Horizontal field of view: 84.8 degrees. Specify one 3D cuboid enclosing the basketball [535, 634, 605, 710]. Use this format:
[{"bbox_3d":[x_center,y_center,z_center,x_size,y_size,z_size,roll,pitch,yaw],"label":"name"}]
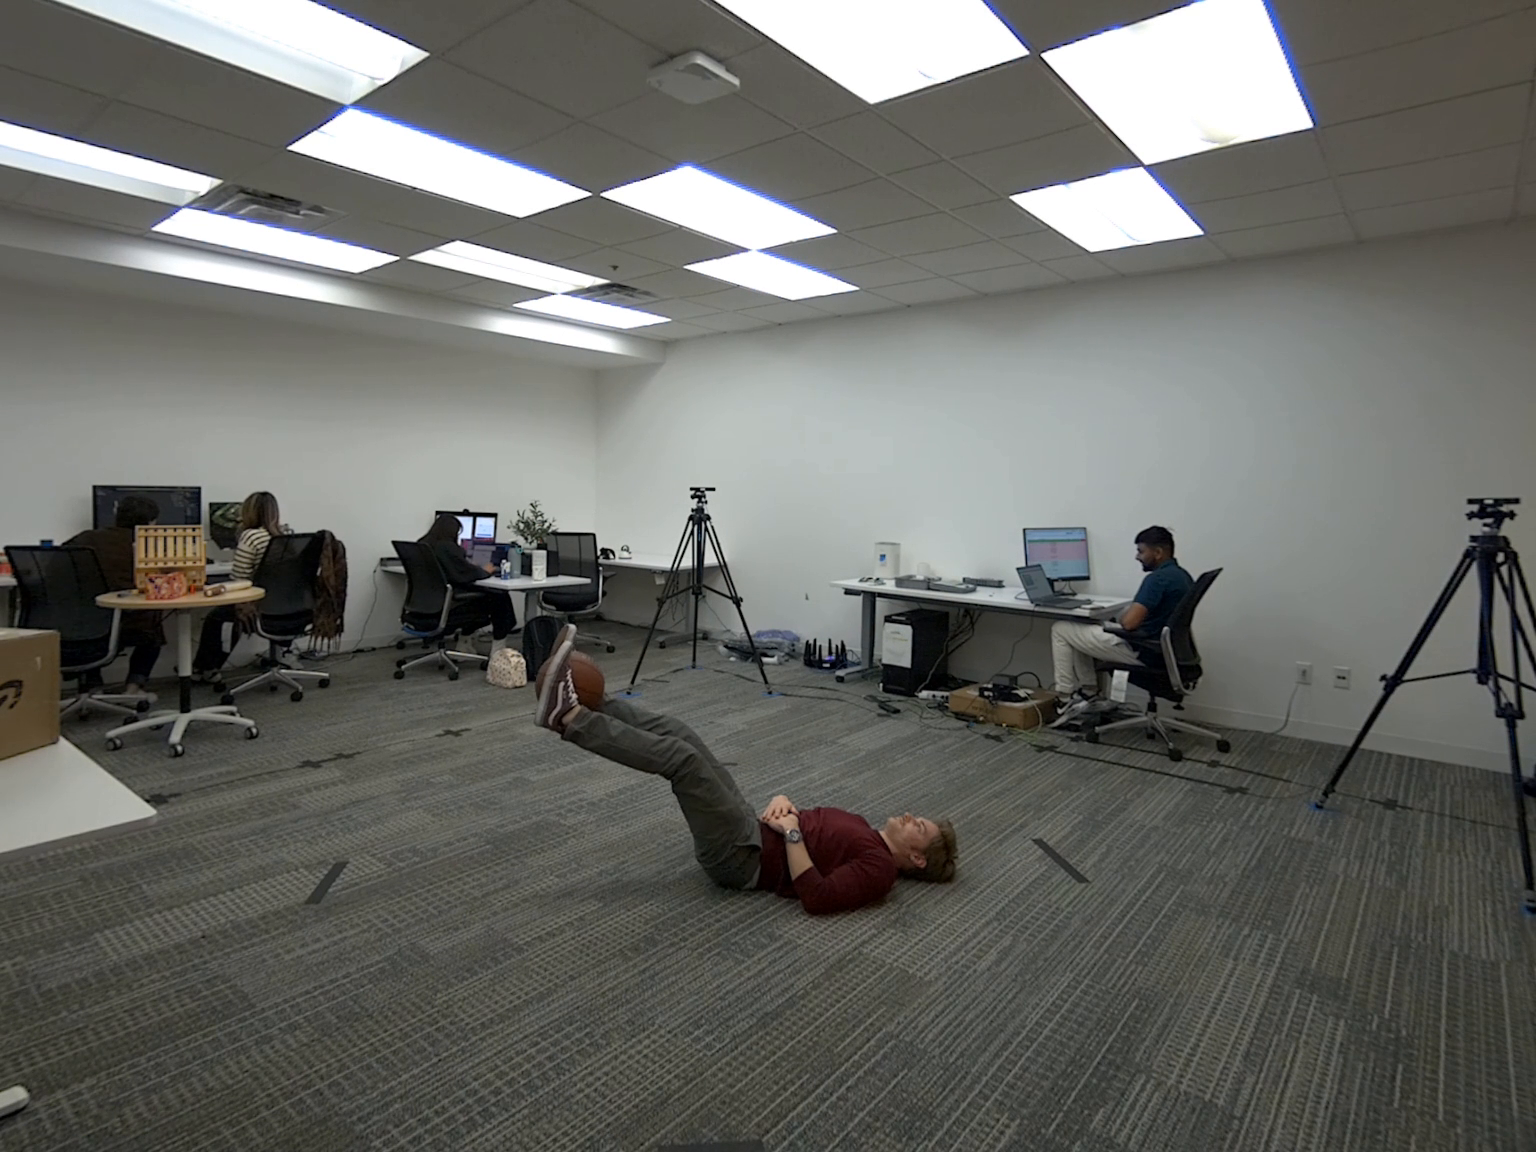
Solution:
[{"bbox_3d":[-0.700,0.377,2.972,0.236,0.235,0.237,-3,3,-2],"label":"basketball"}]
